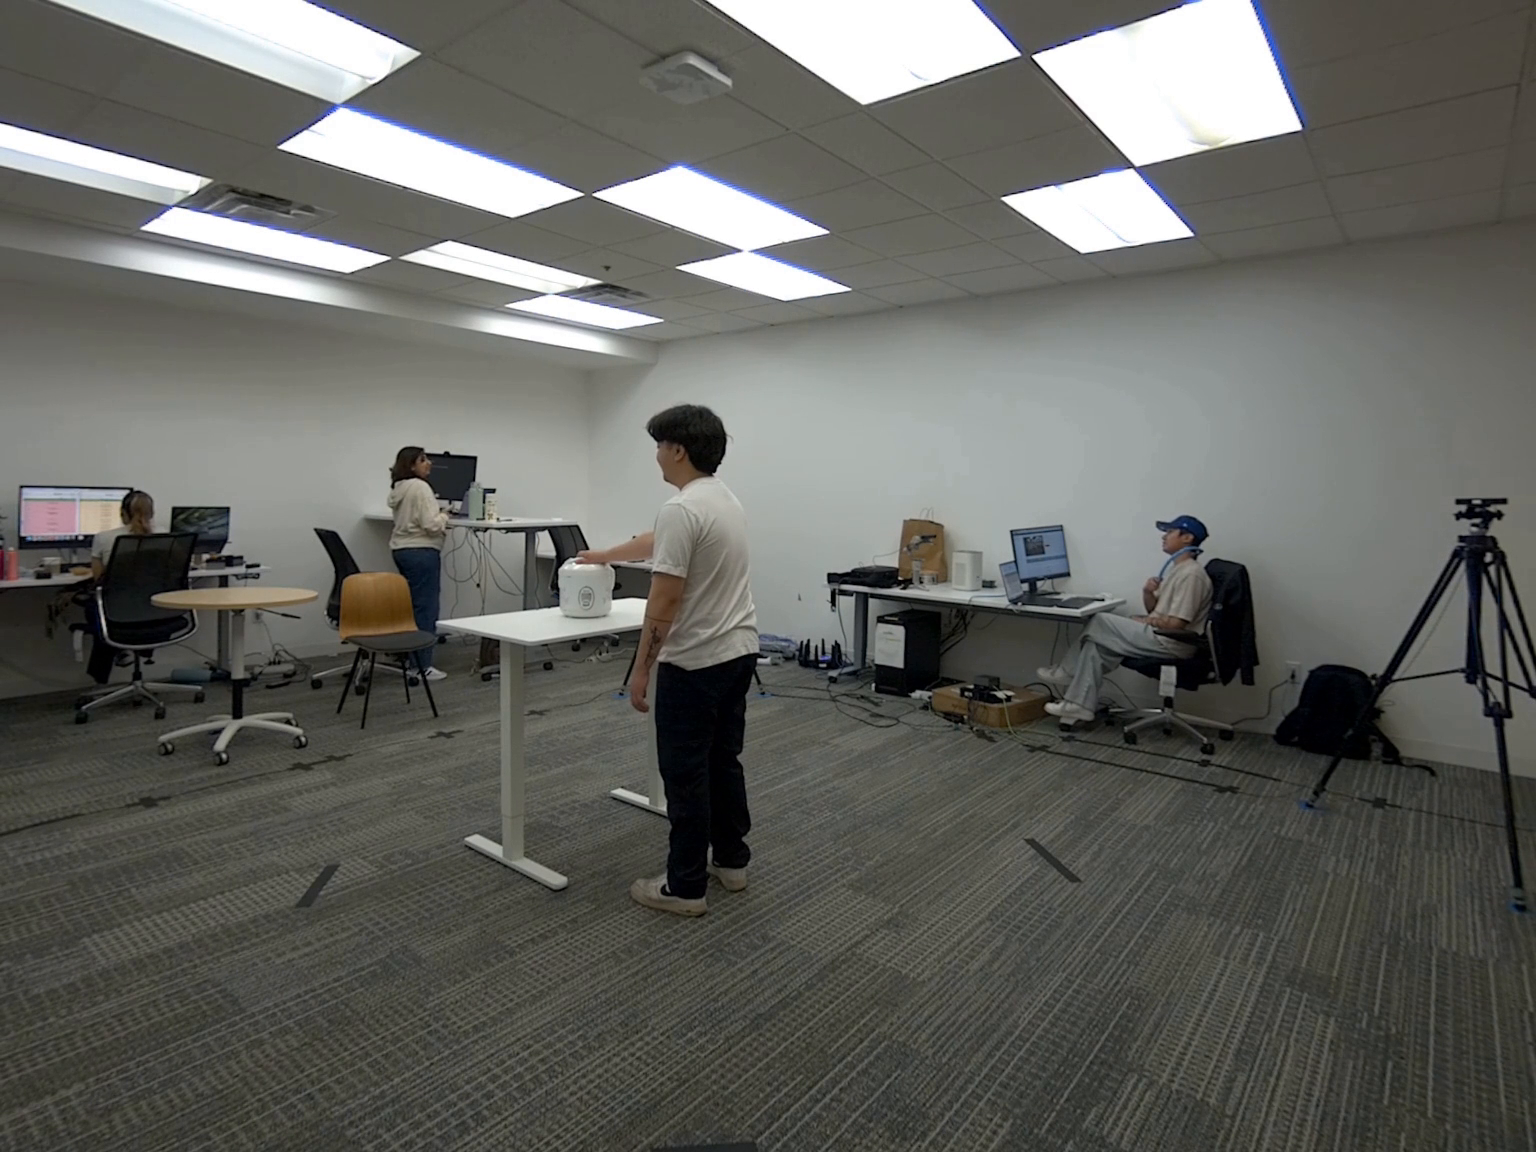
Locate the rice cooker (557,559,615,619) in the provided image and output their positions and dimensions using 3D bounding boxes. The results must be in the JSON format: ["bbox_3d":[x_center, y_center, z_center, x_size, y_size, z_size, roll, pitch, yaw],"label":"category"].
[{"bbox_3d":[-0.731,0.039,3.366,0.218,0.232,0.220,-1,4,-10],"label":"rice cooker"}]
